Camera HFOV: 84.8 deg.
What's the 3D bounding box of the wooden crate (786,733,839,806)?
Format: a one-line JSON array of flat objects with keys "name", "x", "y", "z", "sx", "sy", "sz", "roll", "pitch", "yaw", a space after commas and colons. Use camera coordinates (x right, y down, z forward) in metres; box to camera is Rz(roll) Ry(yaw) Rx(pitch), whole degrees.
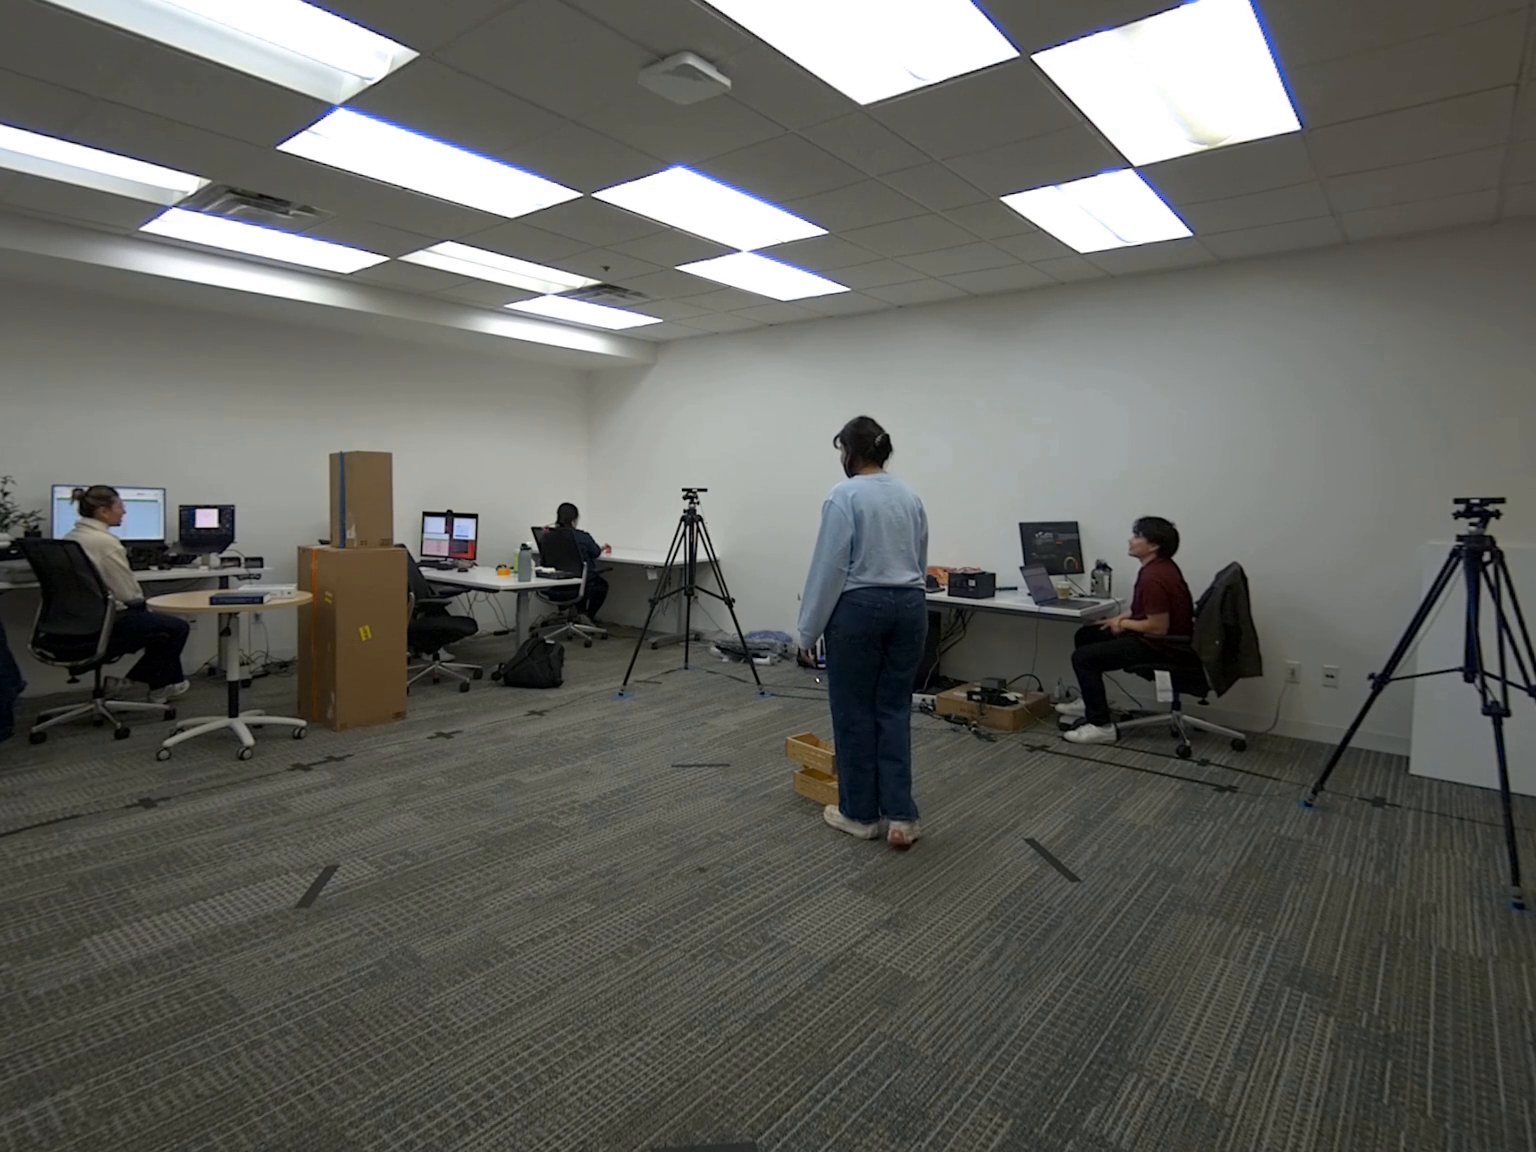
[{"name": "wooden crate", "x": 0.287, "y": 0.873, "z": 3.889, "sx": 0.293, "sy": 0.272, "sz": 0.335, "roll": -3, "pitch": 6, "yaw": -40}]
